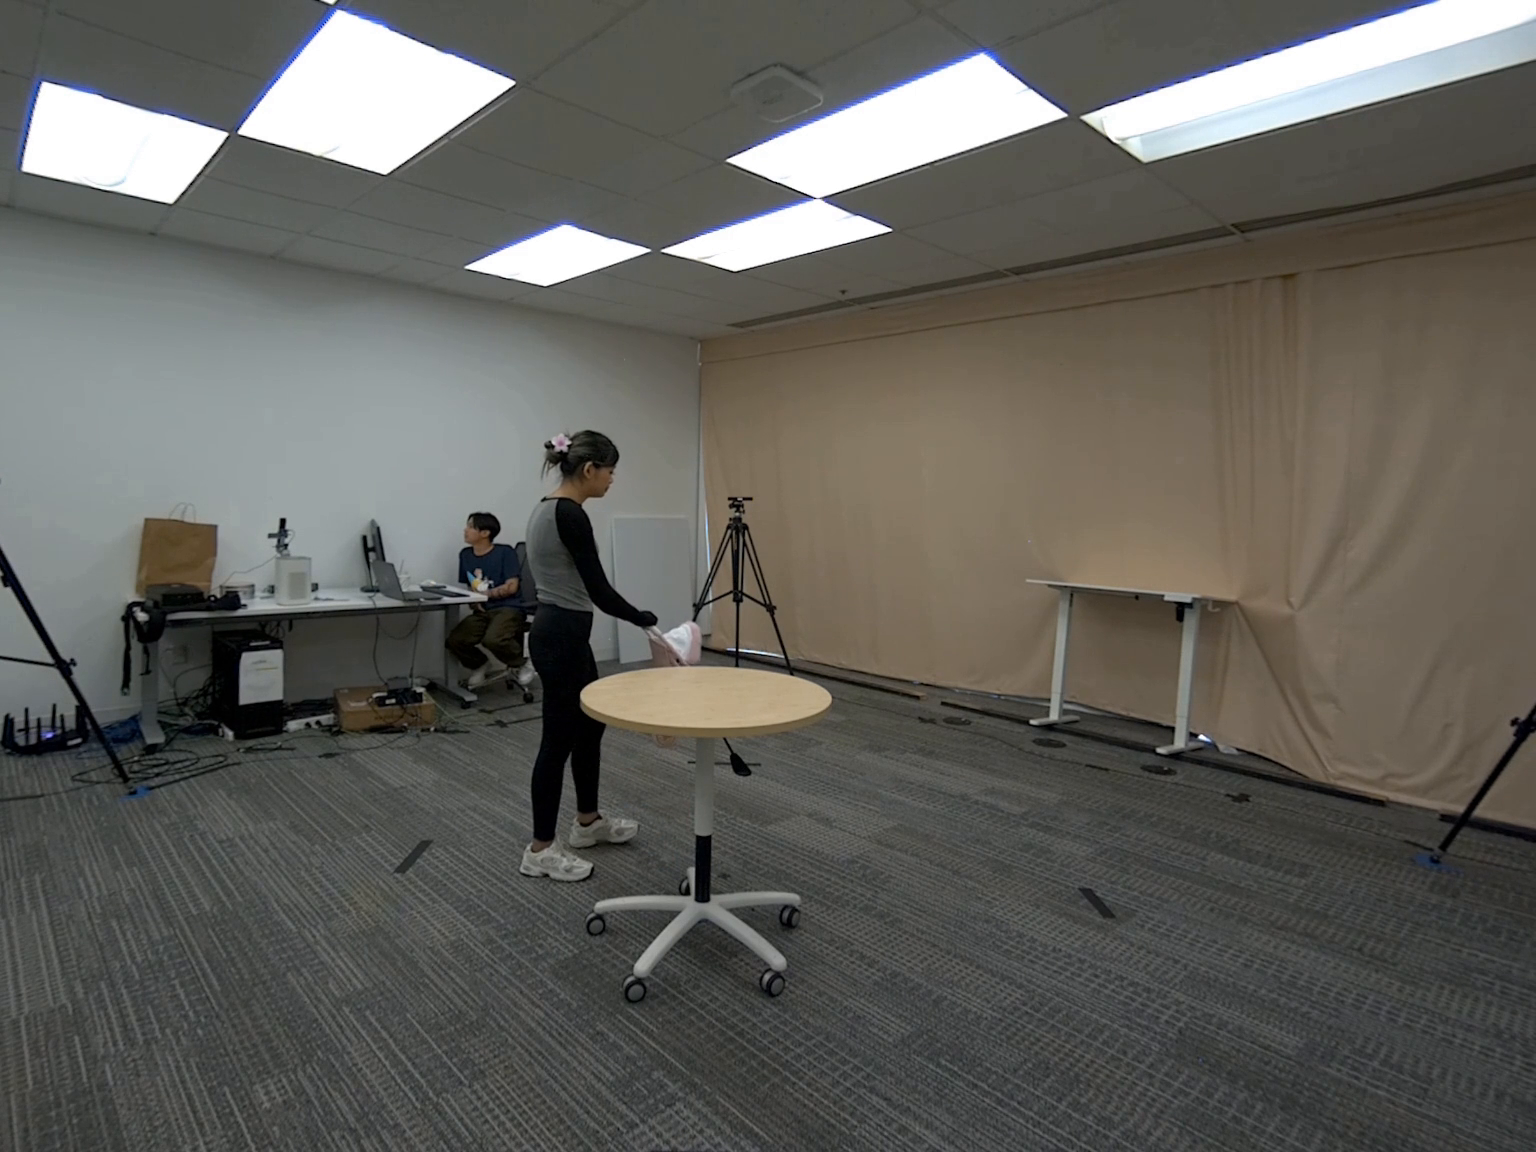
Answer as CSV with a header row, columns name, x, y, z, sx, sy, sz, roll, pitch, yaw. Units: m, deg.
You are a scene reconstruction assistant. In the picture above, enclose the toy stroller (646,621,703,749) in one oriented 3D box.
name,x,y,z,sx,sy,sz,roll,pitch,yaw
toy stroller,-0.347,0.414,3.285,0.335,0.533,0.287,-2,7,-26
